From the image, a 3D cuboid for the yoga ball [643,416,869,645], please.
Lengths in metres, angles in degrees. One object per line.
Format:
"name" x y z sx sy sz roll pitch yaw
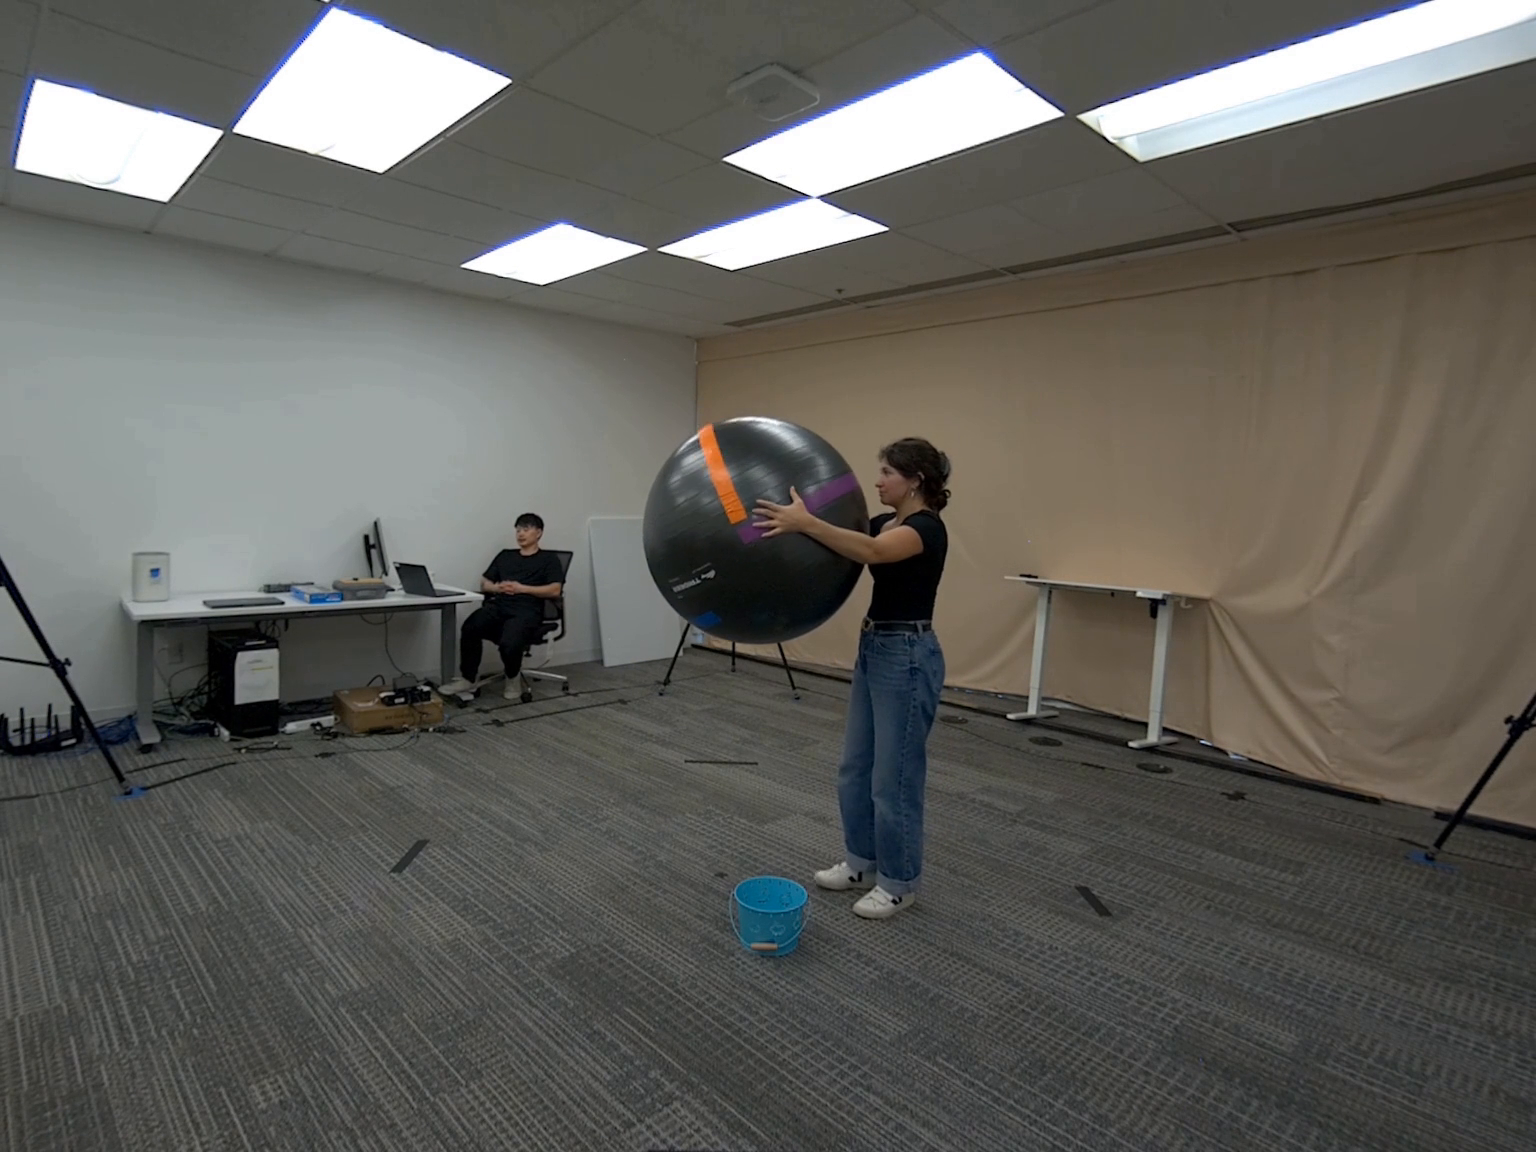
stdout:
"yoga ball" -0.054 -0.148 2.818 0.757 0.756 0.761 1 4 -1
